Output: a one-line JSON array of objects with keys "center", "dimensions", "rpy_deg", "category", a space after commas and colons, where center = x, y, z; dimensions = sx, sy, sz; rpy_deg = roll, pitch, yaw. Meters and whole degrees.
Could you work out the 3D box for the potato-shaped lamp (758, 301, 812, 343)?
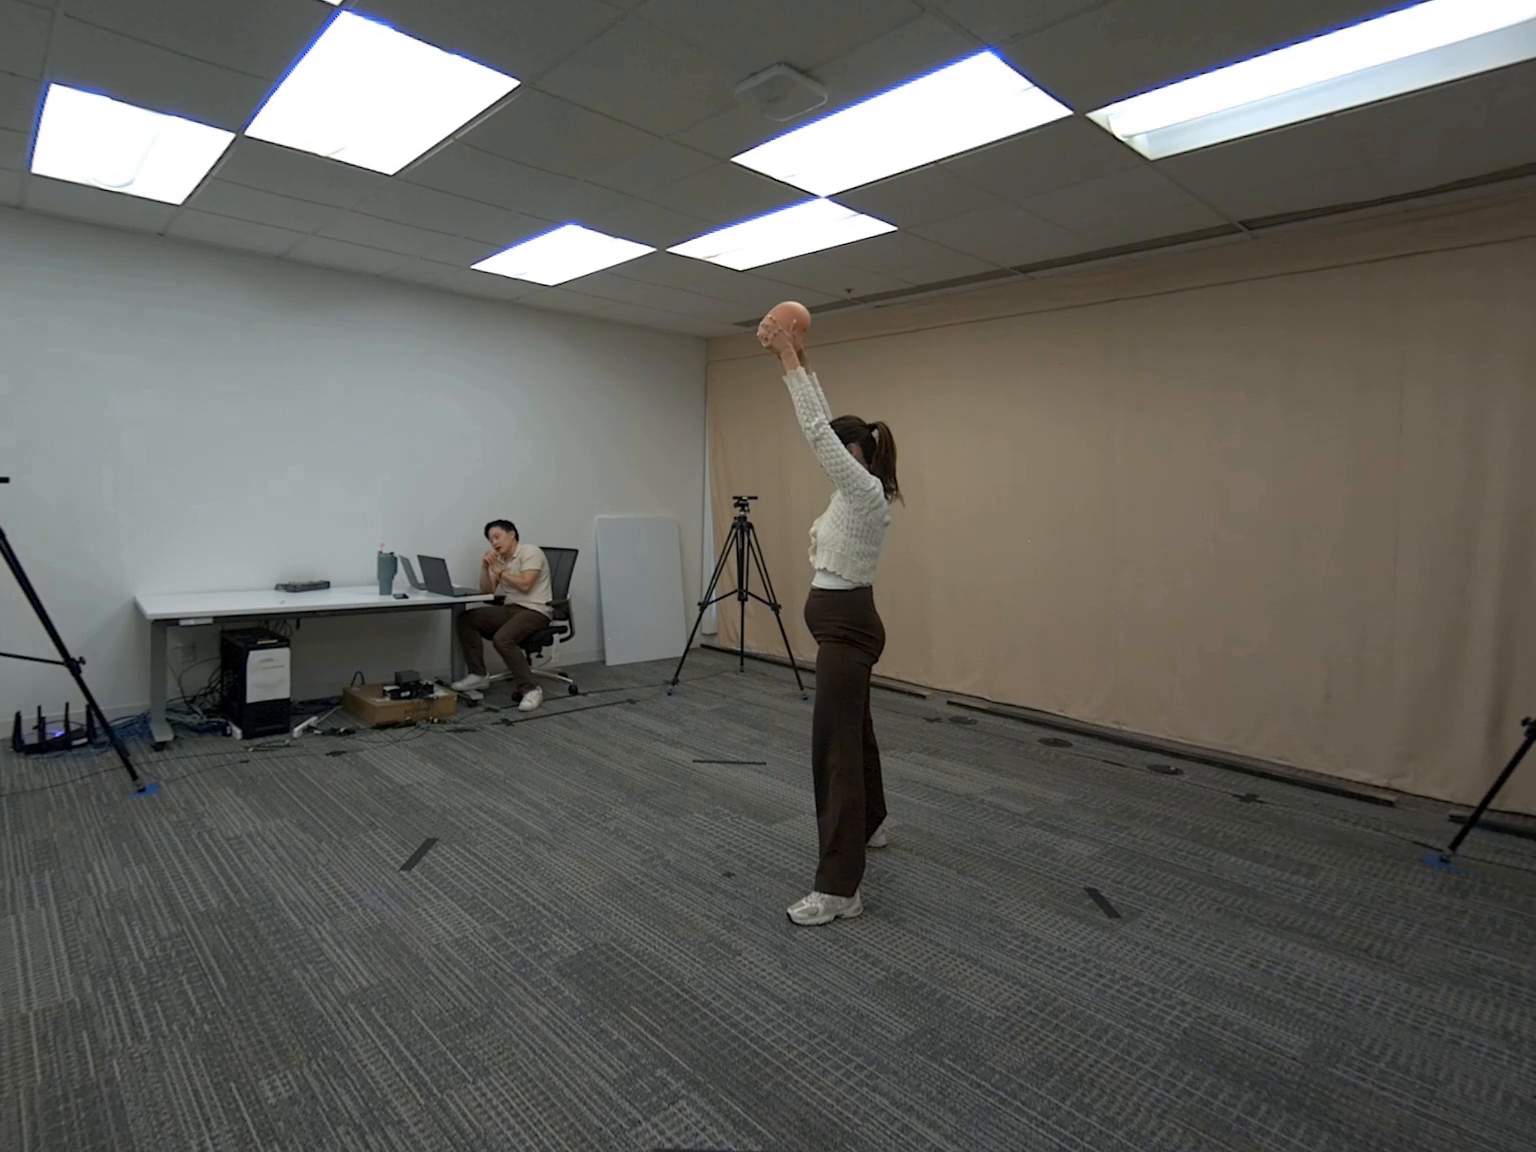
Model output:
[{"center": [0.060, -0.901, 3.075], "dimensions": [0.173, 0.198, 0.163], "rpy_deg": [47, 10, 8], "category": "potato-shaped lamp"}]
